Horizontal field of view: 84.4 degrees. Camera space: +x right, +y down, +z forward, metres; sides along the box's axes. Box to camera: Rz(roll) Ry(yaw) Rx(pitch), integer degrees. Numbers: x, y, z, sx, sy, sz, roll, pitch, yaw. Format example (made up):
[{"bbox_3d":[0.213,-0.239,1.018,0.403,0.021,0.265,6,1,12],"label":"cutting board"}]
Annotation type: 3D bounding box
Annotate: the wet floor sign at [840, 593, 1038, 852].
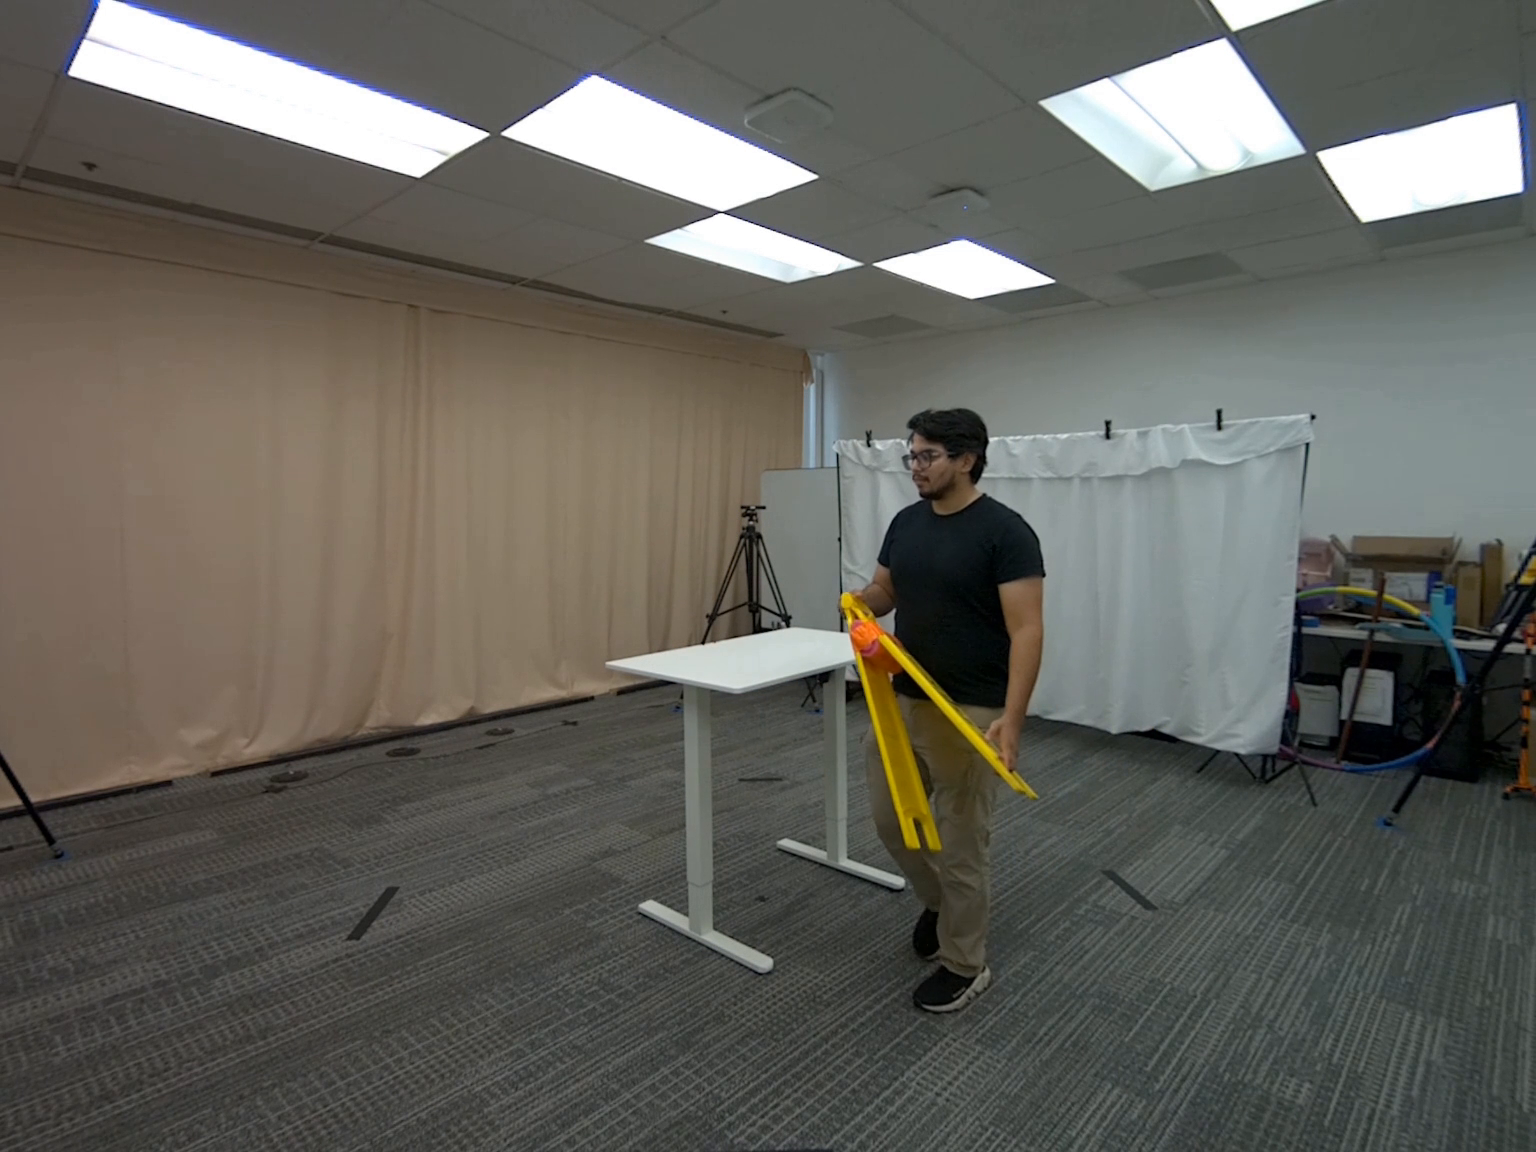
[{"bbox_3d":[0.366,0.332,2.161,0.292,0.663,0.273,-34,-30,13],"label":"wet floor sign"}]
